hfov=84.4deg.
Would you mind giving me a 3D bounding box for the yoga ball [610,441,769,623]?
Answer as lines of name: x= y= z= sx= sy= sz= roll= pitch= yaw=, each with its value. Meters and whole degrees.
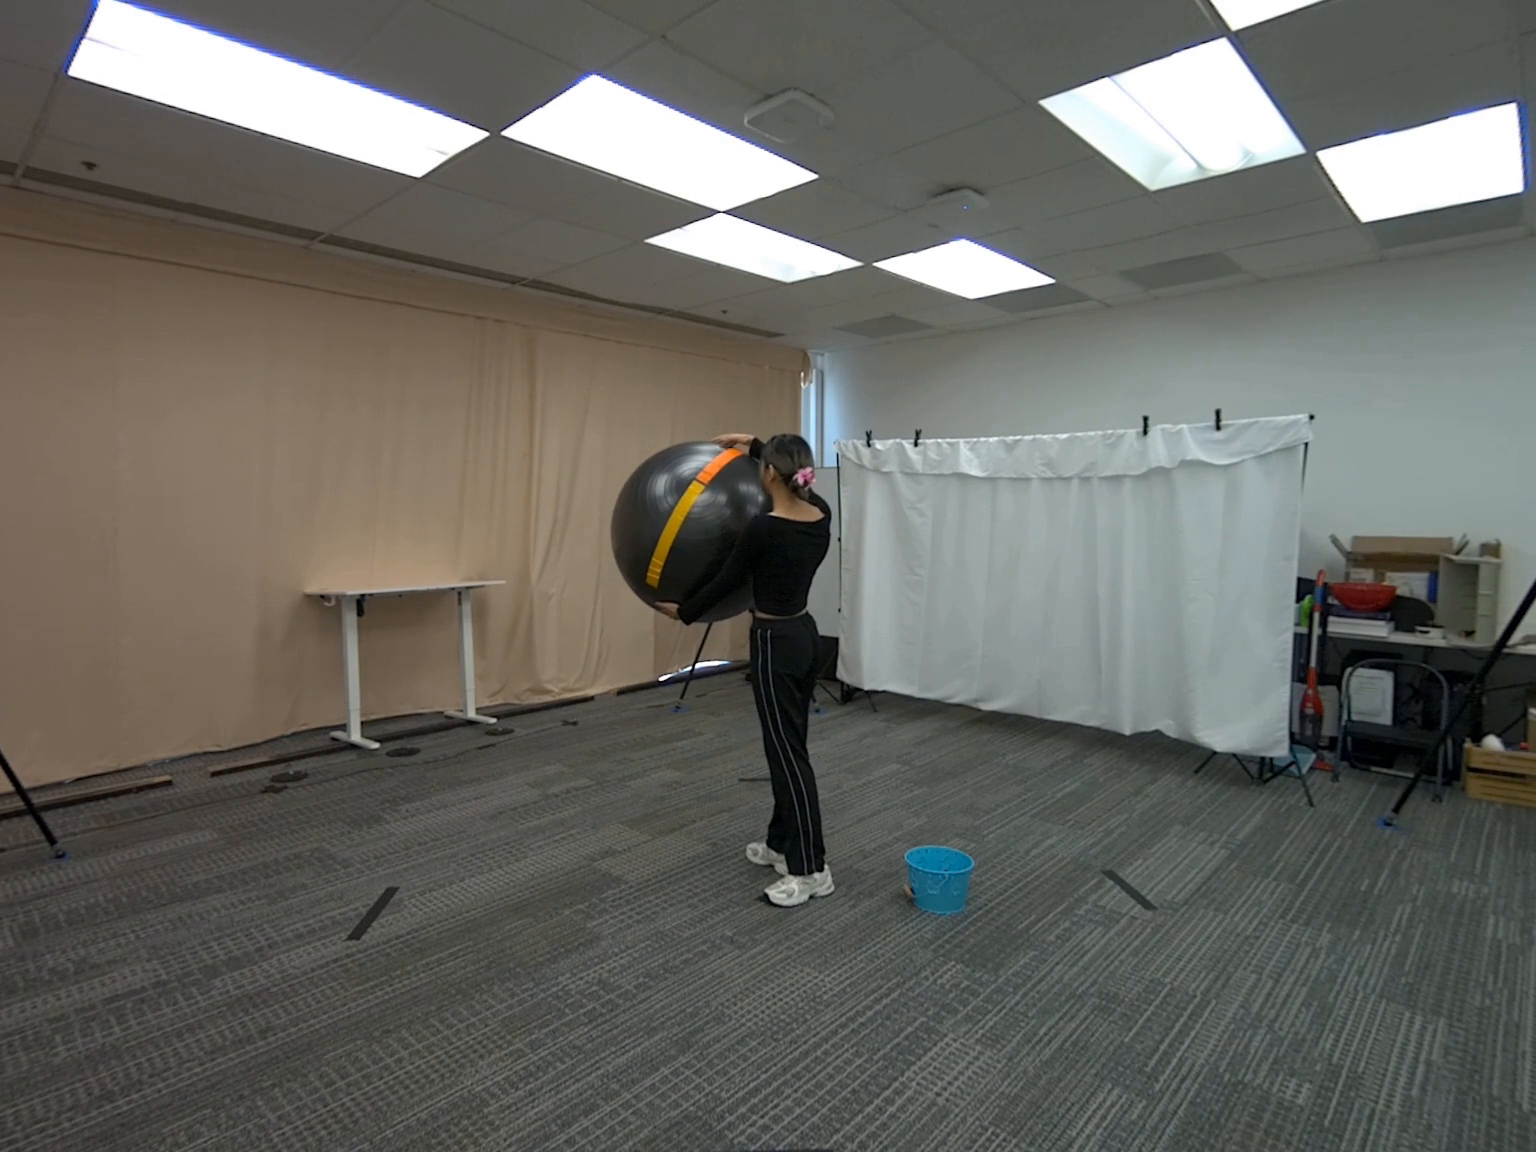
yoga ball: x=-0.277 y=-0.182 z=3.530 sx=0.757 sy=0.756 sz=0.760 roll=0 pitch=4 yaw=-2
